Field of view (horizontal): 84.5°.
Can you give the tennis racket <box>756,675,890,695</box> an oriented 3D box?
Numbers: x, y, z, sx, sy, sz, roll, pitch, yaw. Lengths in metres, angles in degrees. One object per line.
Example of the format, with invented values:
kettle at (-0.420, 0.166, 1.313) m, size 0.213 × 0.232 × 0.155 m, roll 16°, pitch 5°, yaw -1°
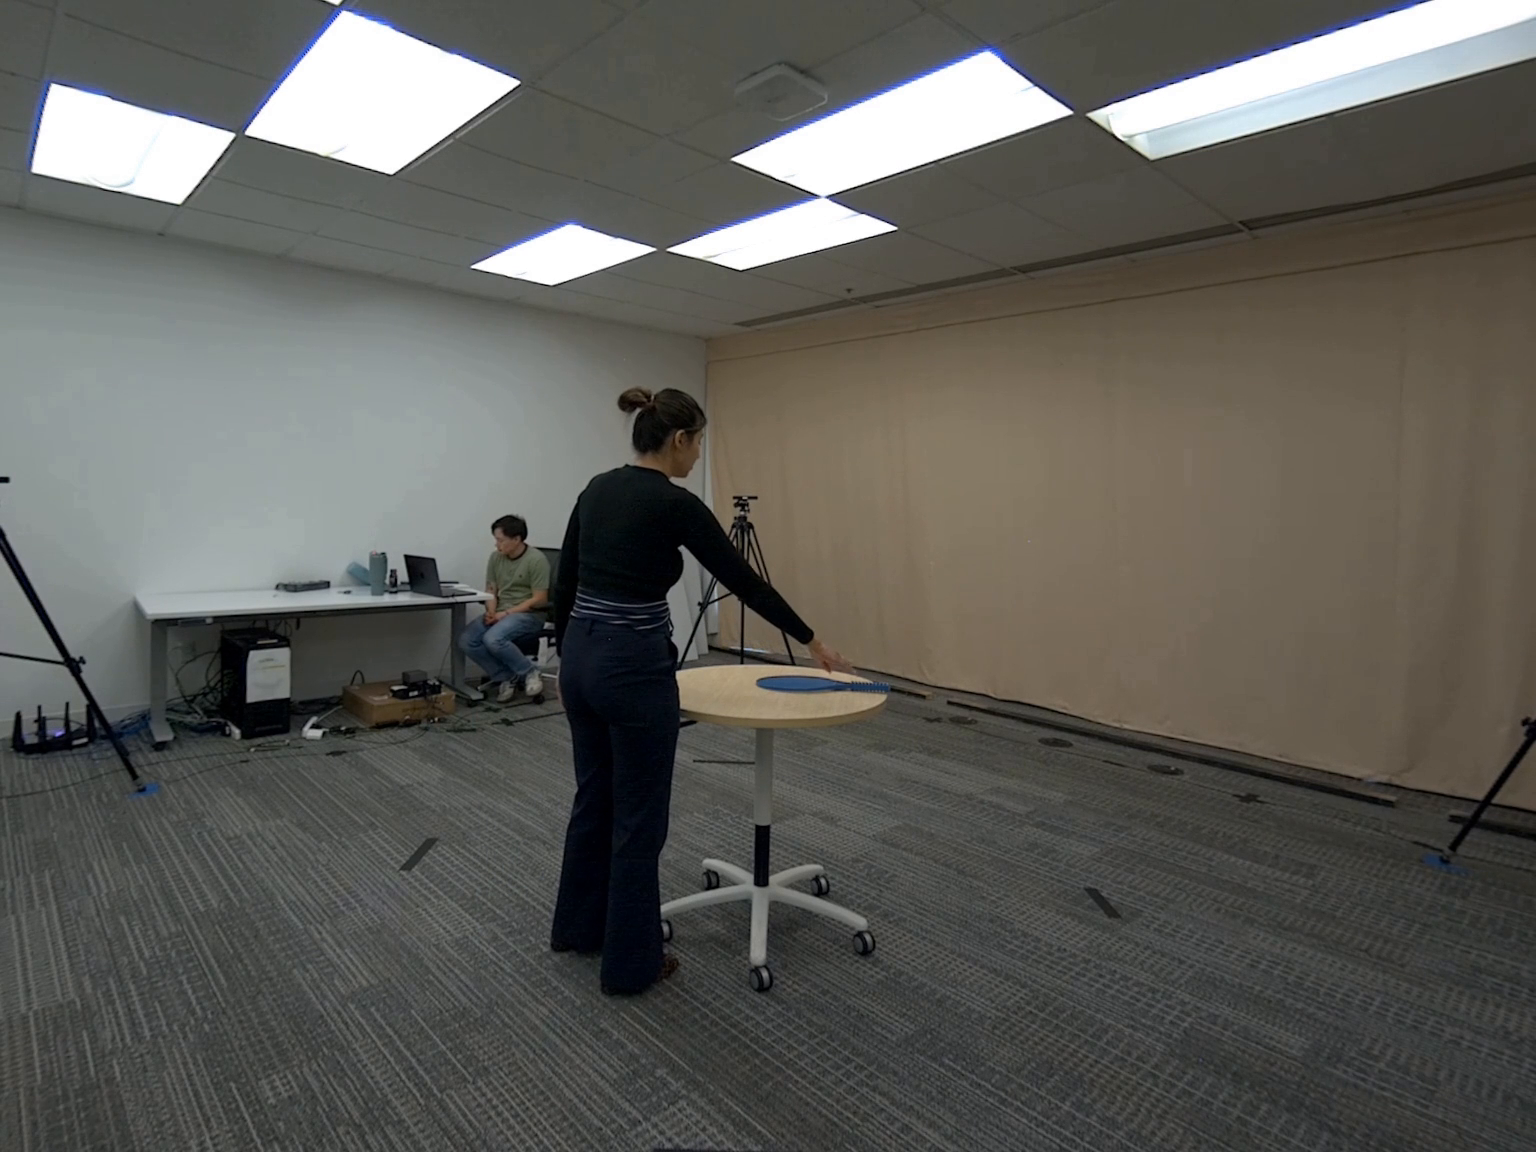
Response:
tennis racket at (0.174, 0.351, 2.705) m, size 0.439 × 0.031 × 0.211 m, roll 1°, pitch 5°, yaw 18°
